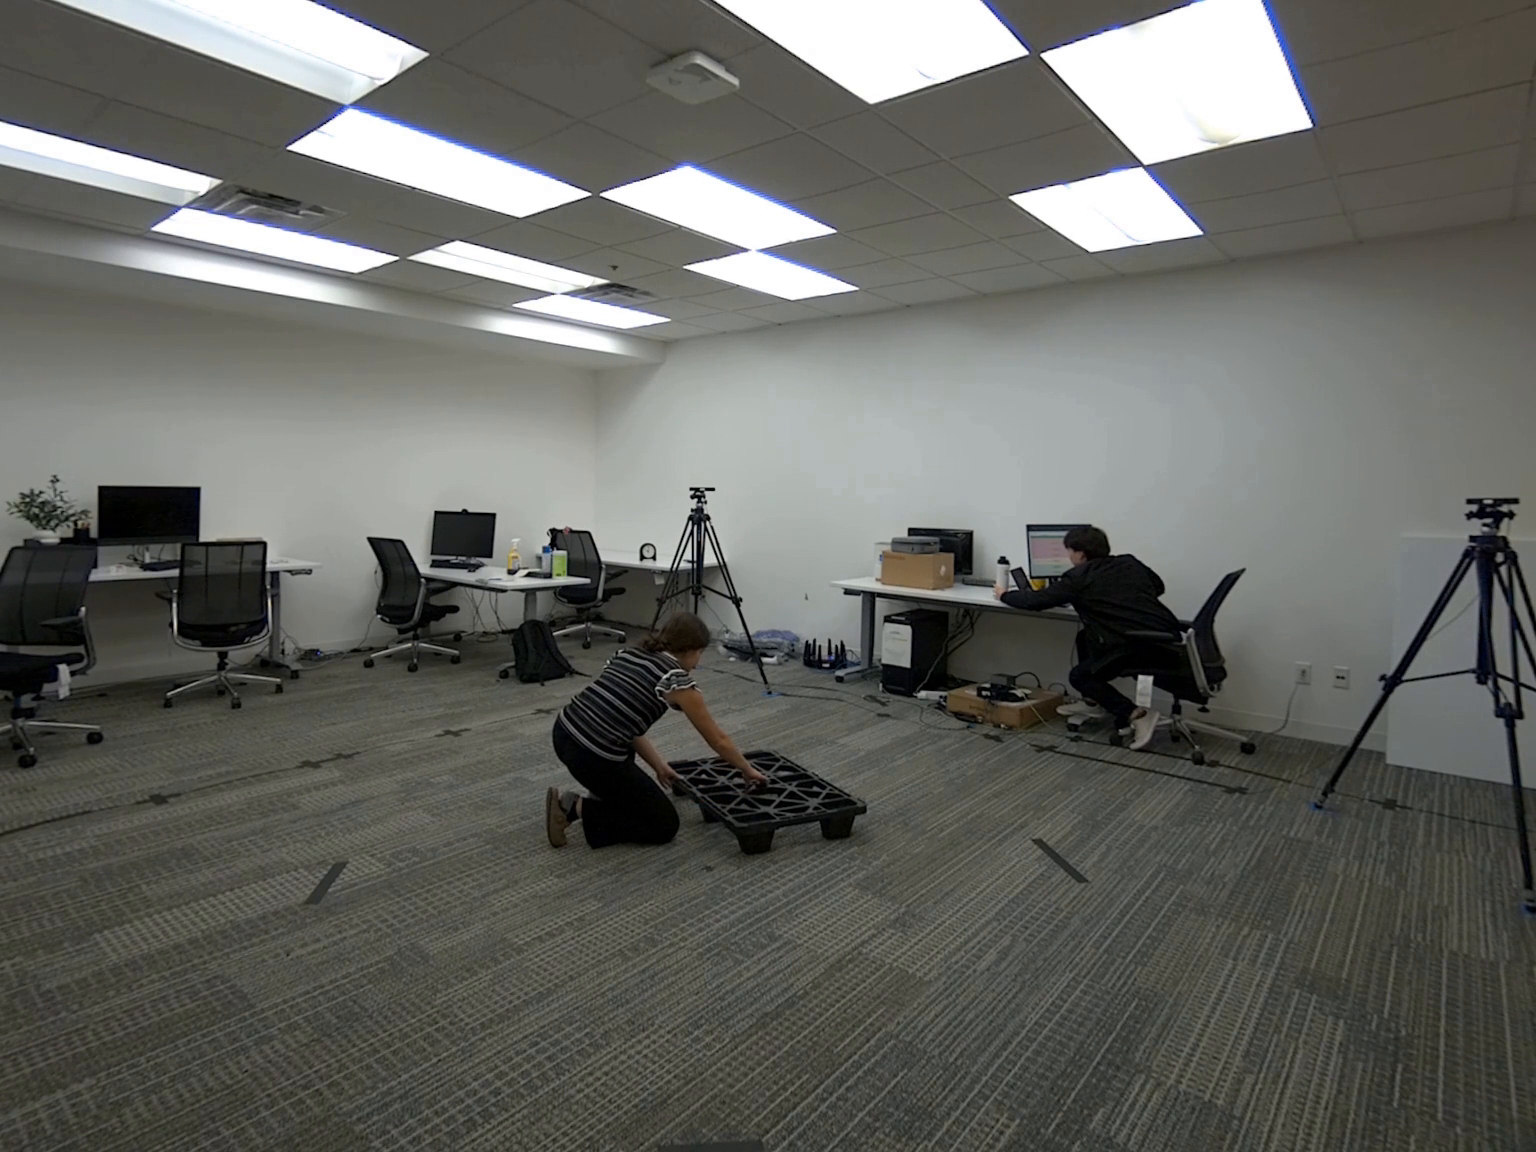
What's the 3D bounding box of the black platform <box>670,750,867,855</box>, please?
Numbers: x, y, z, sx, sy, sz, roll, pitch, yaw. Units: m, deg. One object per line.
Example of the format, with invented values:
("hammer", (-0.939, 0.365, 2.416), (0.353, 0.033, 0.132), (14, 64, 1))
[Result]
("black platform", (-0.061, 0.953, 3.655), (0.590, 0.143, 0.829), (-1, 6, -28))
